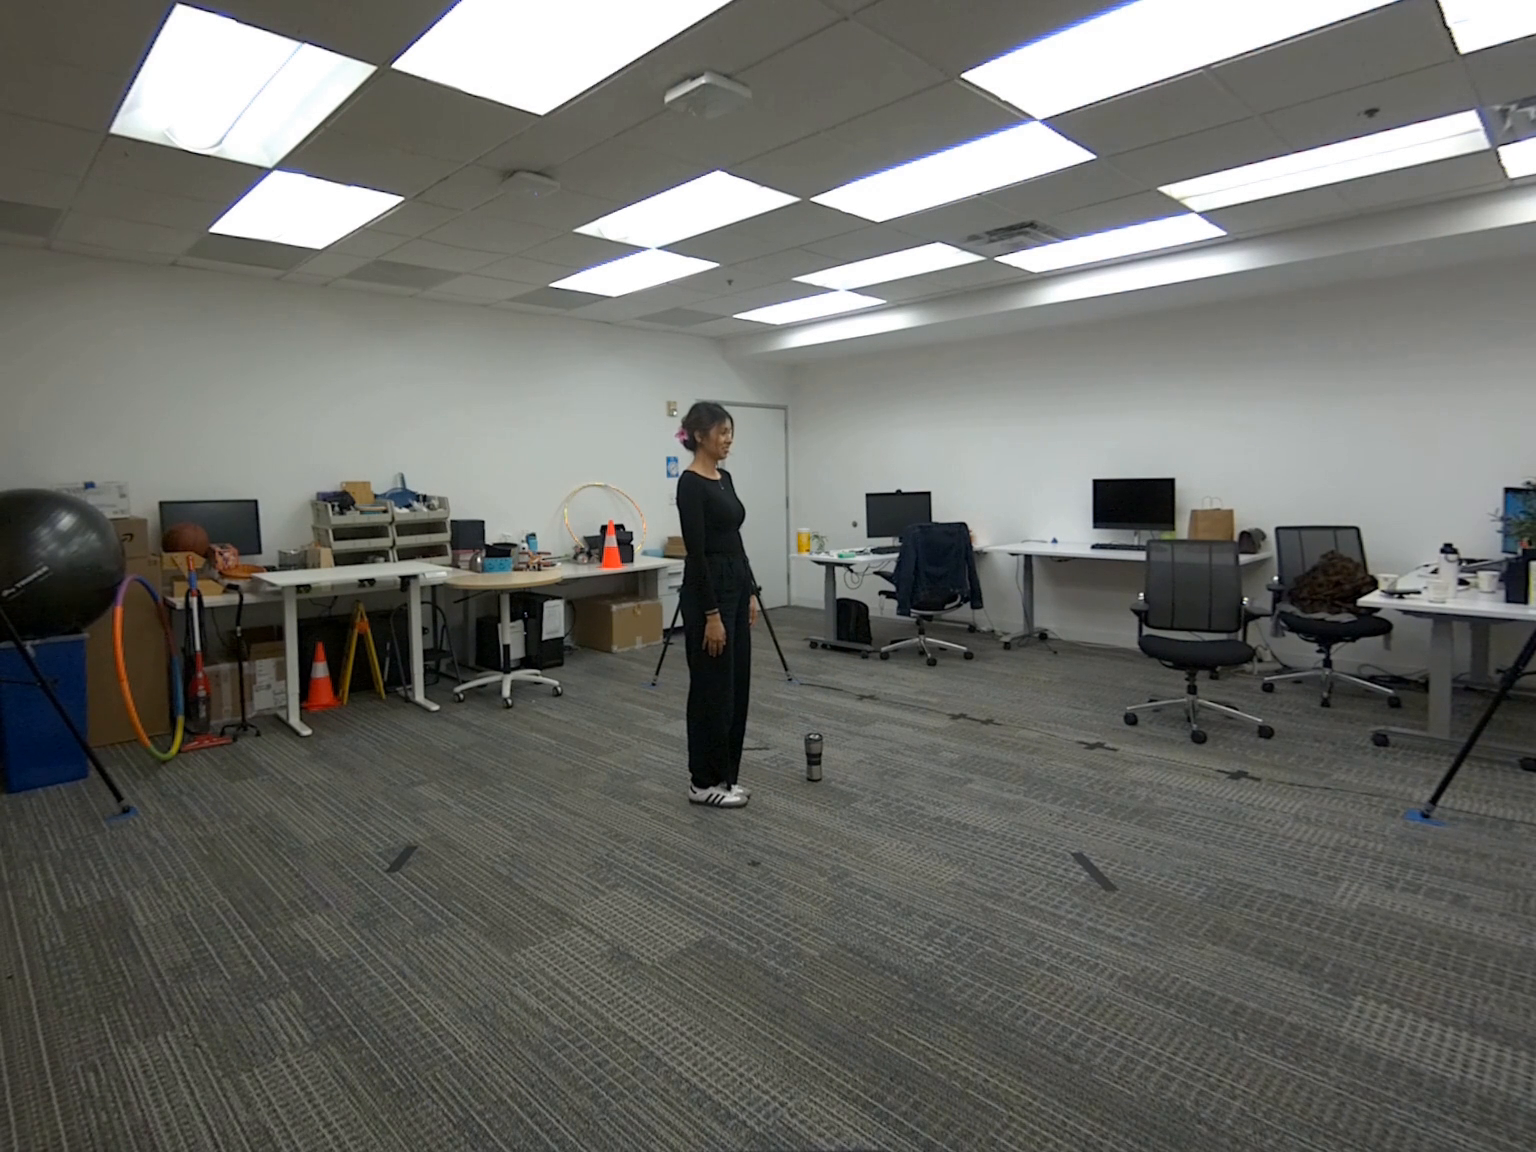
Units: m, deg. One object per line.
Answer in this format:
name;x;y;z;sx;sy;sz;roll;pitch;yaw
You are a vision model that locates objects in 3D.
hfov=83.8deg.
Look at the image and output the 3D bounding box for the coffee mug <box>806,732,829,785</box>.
coffee mug;0.228;0.845;3.989;0.088;0.202;0.122;-2;6;2
